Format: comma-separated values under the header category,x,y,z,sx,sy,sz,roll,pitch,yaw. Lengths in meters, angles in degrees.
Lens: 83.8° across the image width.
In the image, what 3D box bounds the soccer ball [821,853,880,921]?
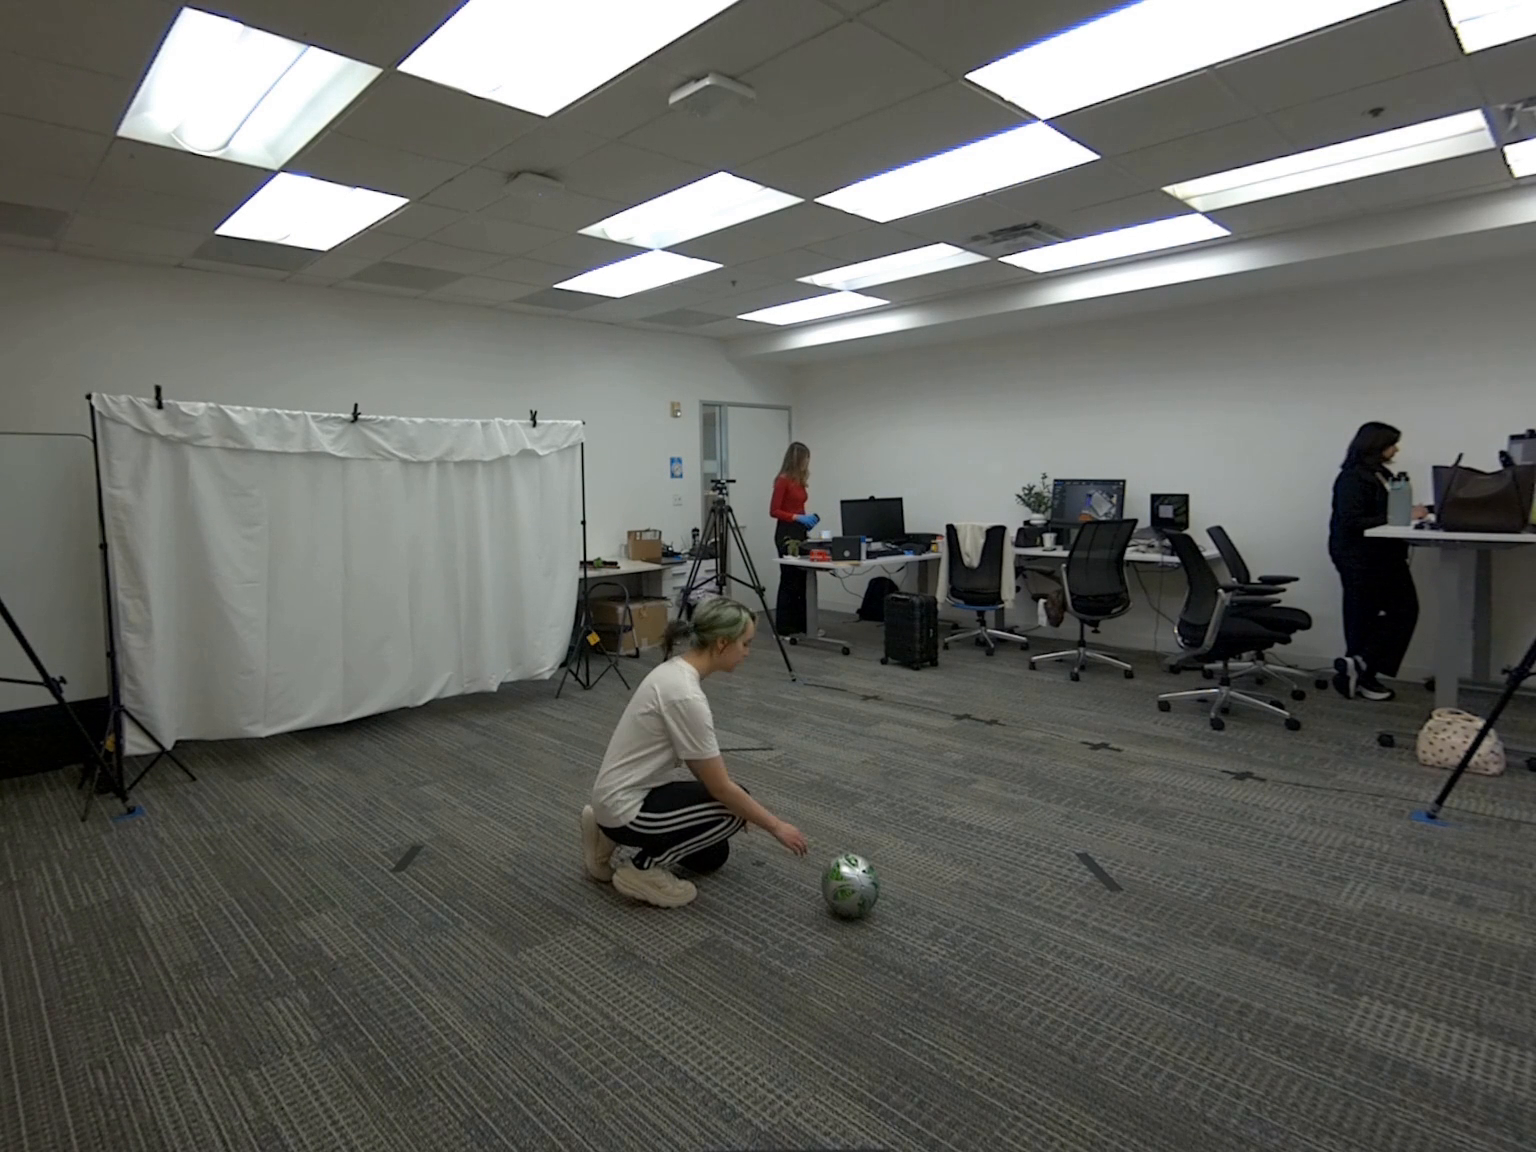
category,x,y,z,sx,sy,sz,roll,pitch,yaw
soccer ball,0.260,0.980,2.735,0.187,0.187,0.188,-1,5,-2
